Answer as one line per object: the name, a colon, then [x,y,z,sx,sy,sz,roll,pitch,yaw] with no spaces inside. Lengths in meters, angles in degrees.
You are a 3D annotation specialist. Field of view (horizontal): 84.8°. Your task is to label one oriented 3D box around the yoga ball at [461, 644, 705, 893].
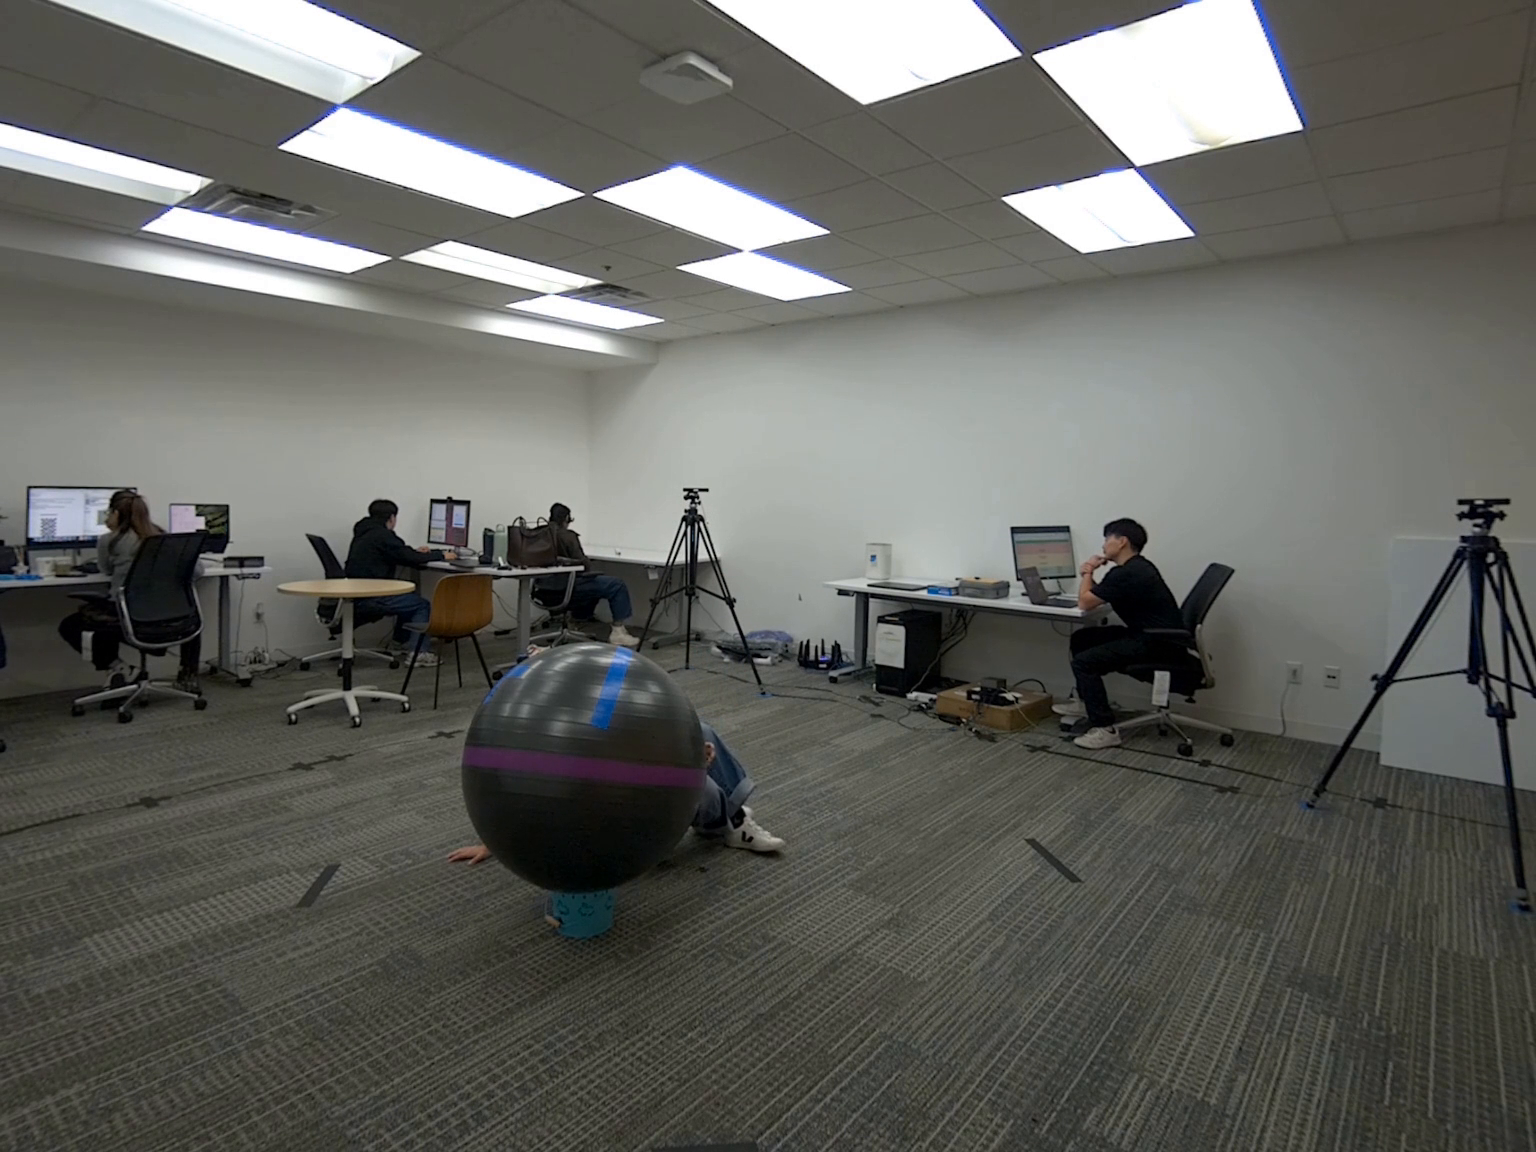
yoga ball: [-0.594,0.596,2.688,0.757,0.756,0.761,1,4,-2]
